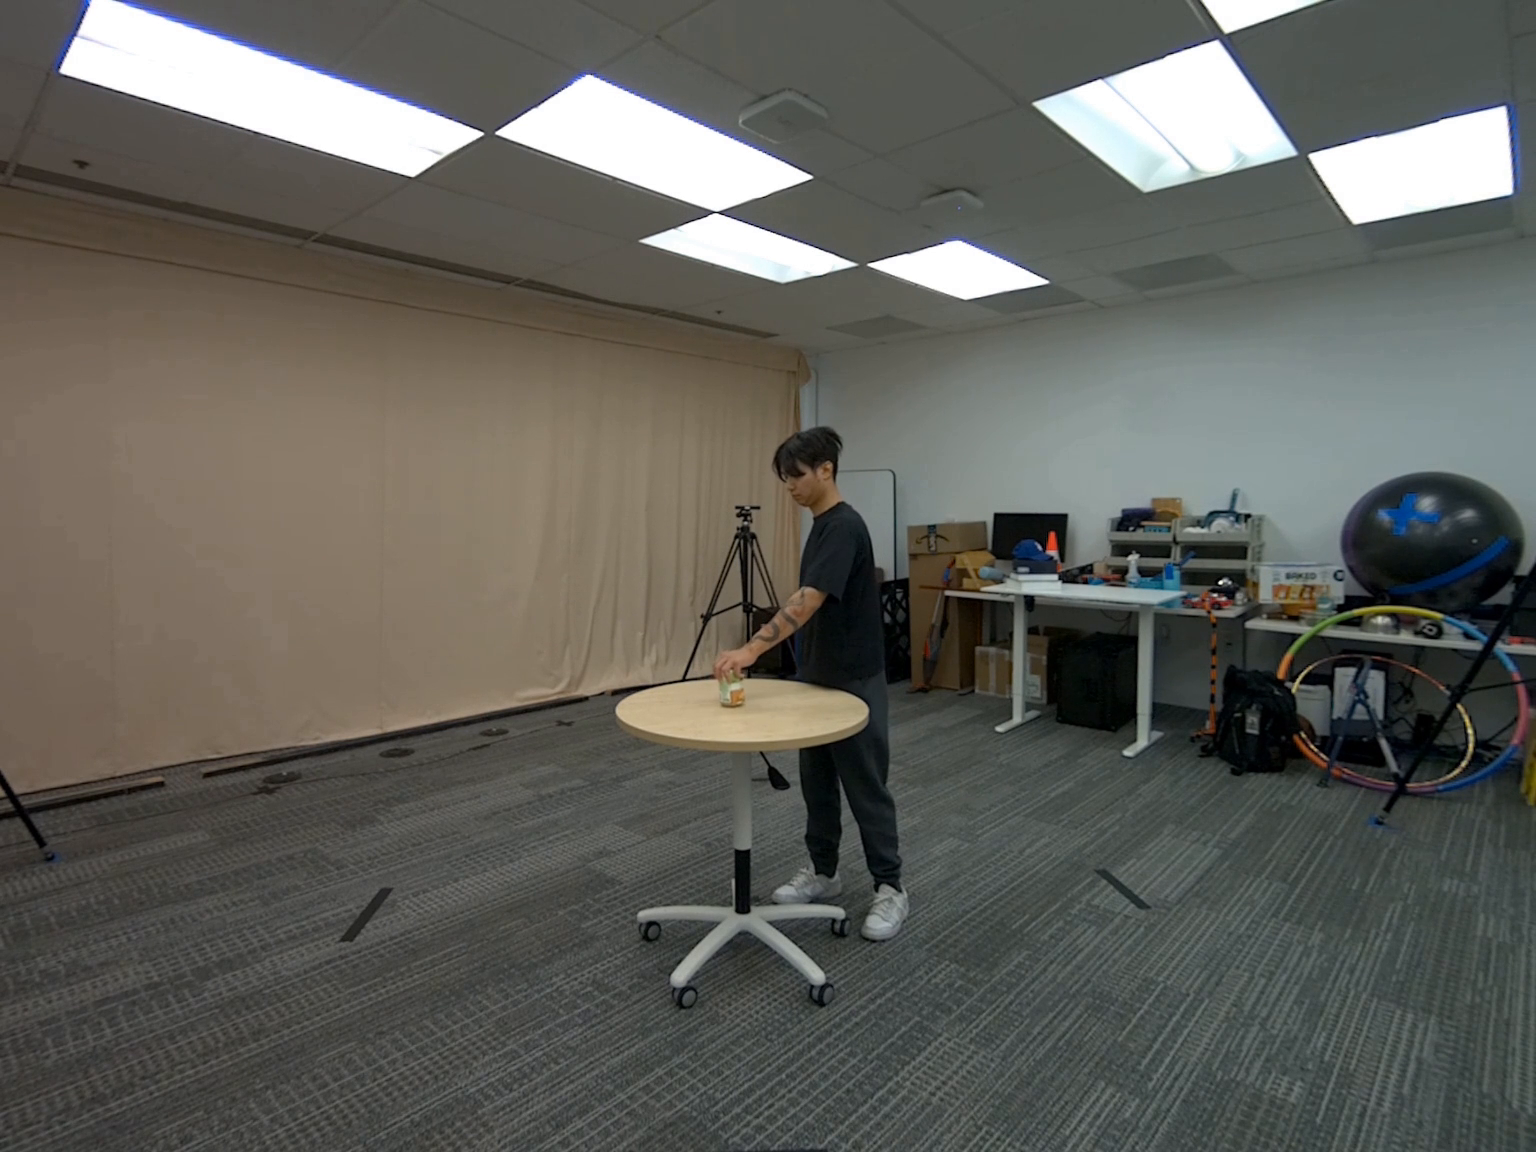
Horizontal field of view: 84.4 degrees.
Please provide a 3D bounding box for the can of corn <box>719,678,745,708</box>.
[{"bbox_3d":[-0.111,0.333,2.568,0.074,0.111,0.074,-2,4,-2],"label":"can of corn"}]
